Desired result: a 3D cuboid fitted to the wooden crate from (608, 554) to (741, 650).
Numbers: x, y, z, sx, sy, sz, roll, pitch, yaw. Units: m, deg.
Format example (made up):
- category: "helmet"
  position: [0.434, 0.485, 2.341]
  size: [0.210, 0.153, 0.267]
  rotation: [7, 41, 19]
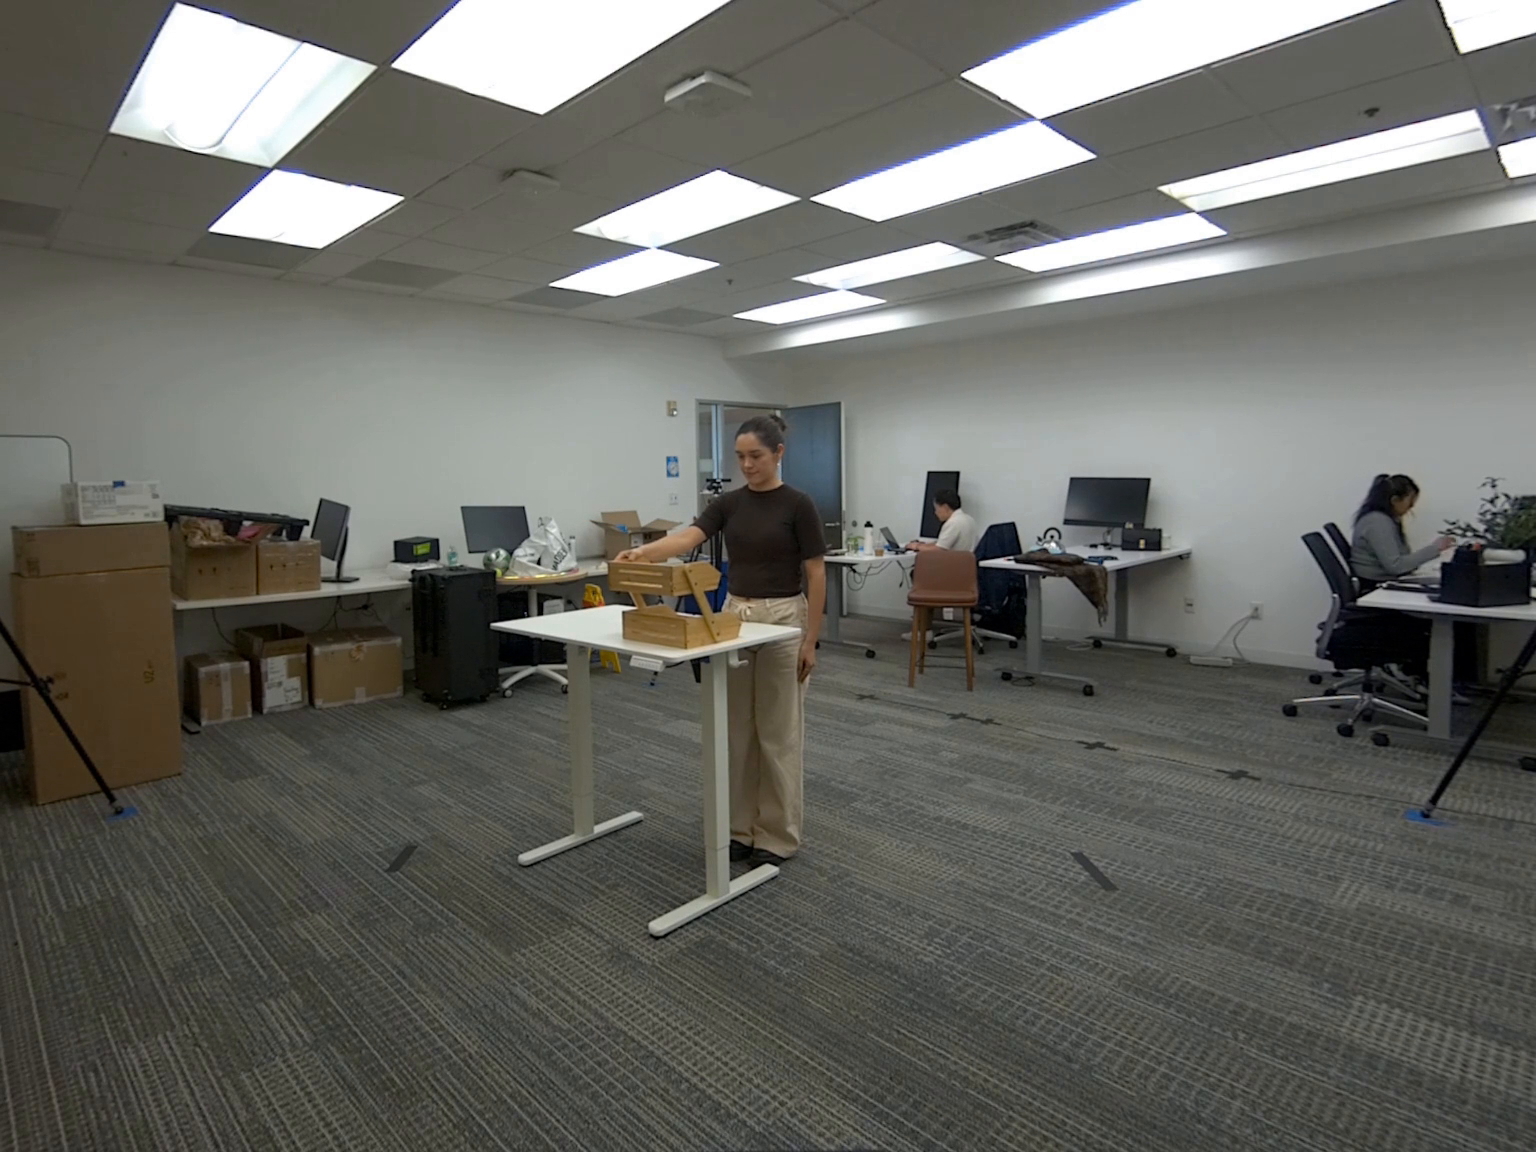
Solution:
- category: "wooden crate"
  position: [-0.294, 0.073, 2.751]
  size: [0.334, 0.272, 0.294]
  rotation: [3, 7, 41]
